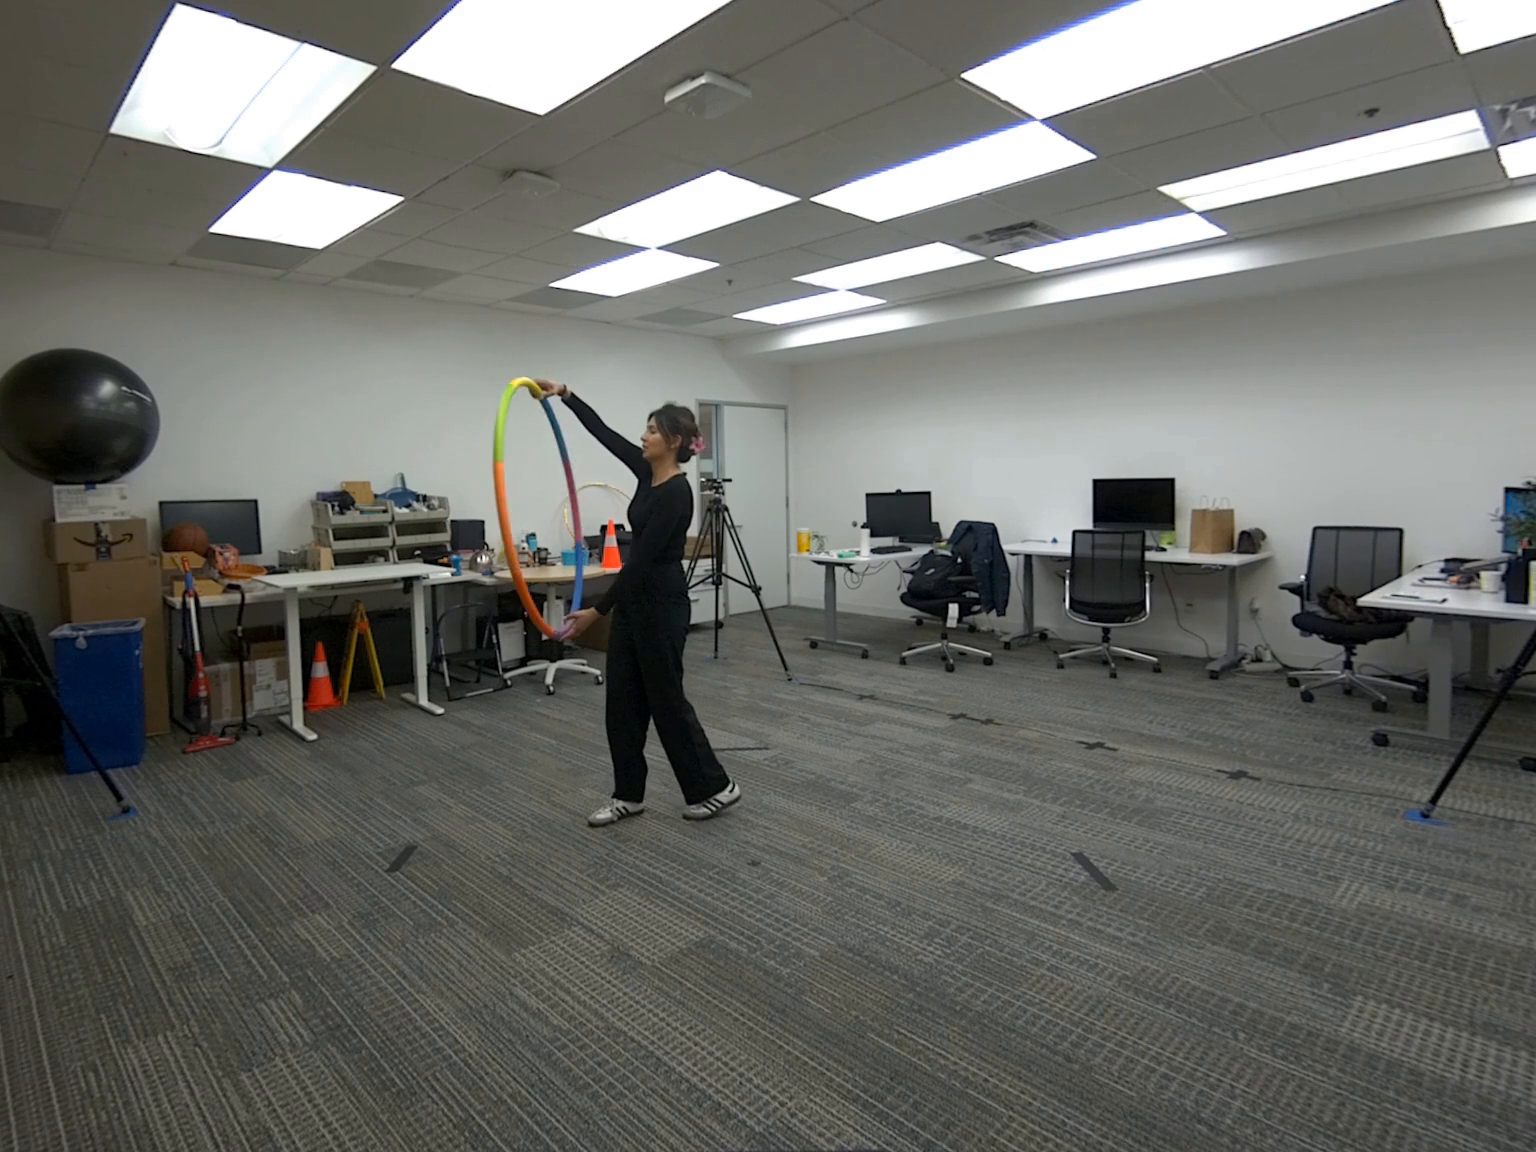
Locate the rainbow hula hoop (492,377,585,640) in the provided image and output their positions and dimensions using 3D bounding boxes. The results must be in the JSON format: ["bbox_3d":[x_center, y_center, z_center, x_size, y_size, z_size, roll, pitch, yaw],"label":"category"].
[{"bbox_3d":[-0.847,-0.254,3.240,0.052,0.982,0.985,-6,4,4],"label":"rainbow hula hoop"}]
